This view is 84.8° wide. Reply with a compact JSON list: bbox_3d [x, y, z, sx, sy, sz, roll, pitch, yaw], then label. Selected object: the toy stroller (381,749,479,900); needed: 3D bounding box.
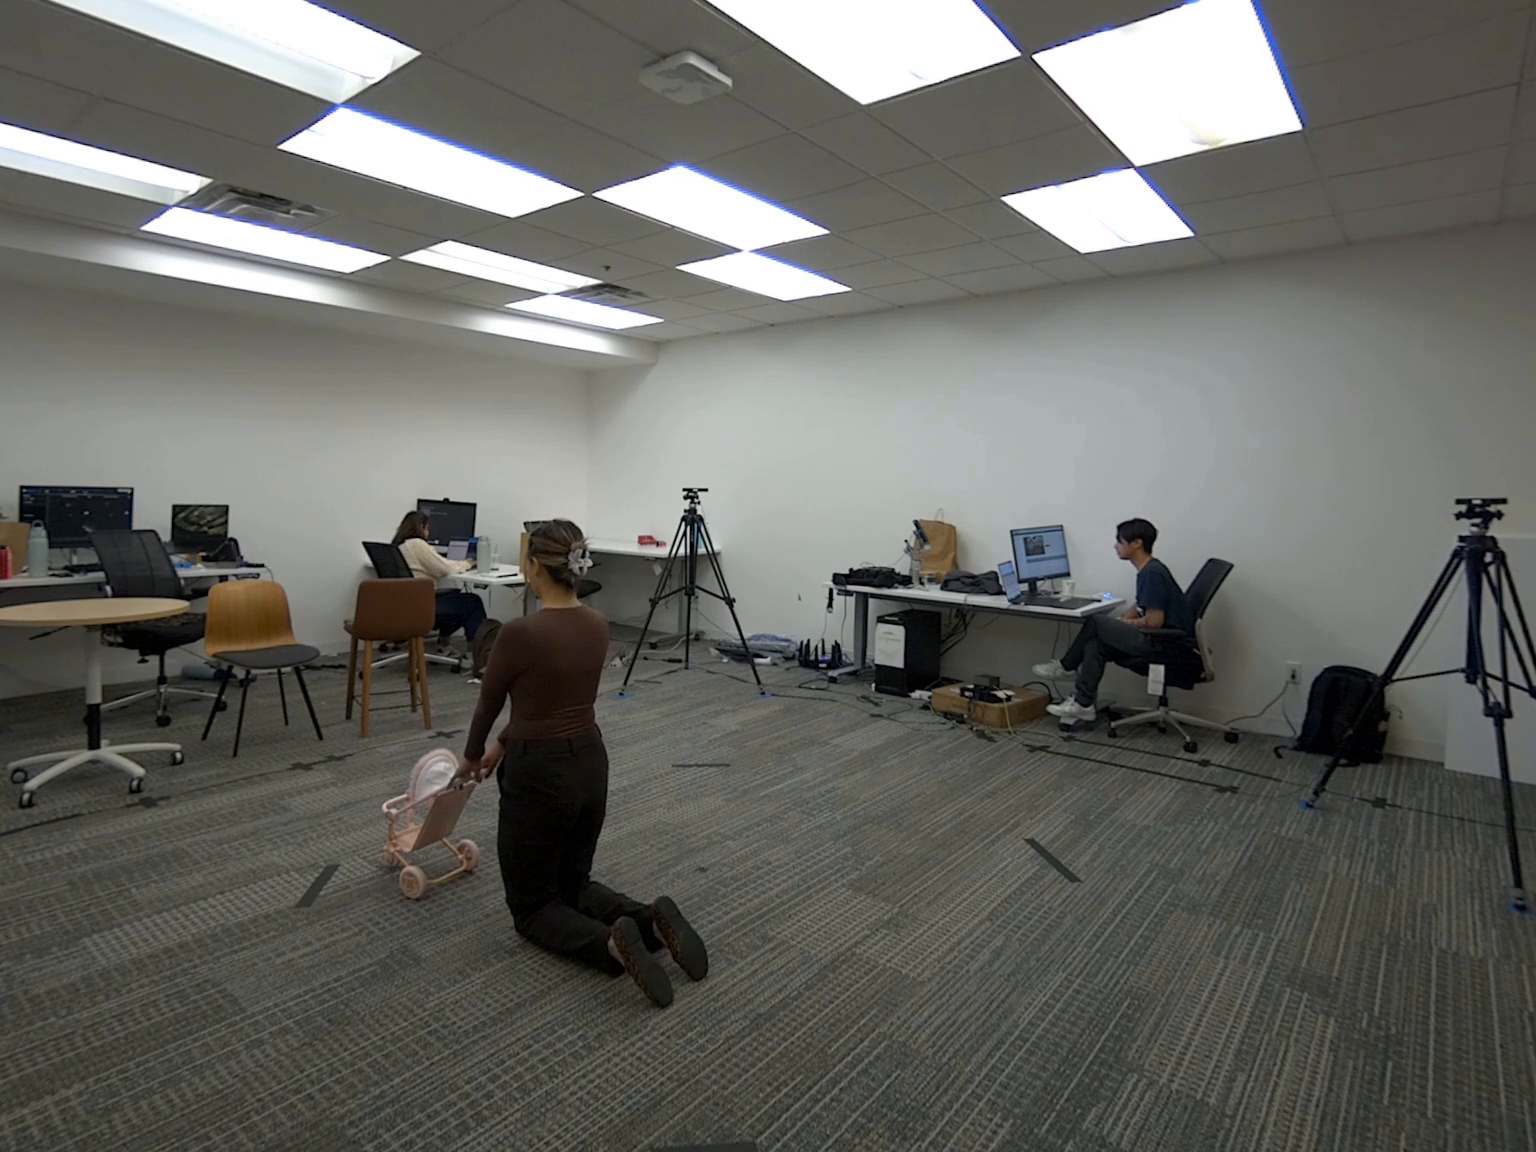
[{"bbox_3d":[-1.202,0.844,2.983,0.353,0.531,0.274,22,13,29],"label":"toy stroller"}]
